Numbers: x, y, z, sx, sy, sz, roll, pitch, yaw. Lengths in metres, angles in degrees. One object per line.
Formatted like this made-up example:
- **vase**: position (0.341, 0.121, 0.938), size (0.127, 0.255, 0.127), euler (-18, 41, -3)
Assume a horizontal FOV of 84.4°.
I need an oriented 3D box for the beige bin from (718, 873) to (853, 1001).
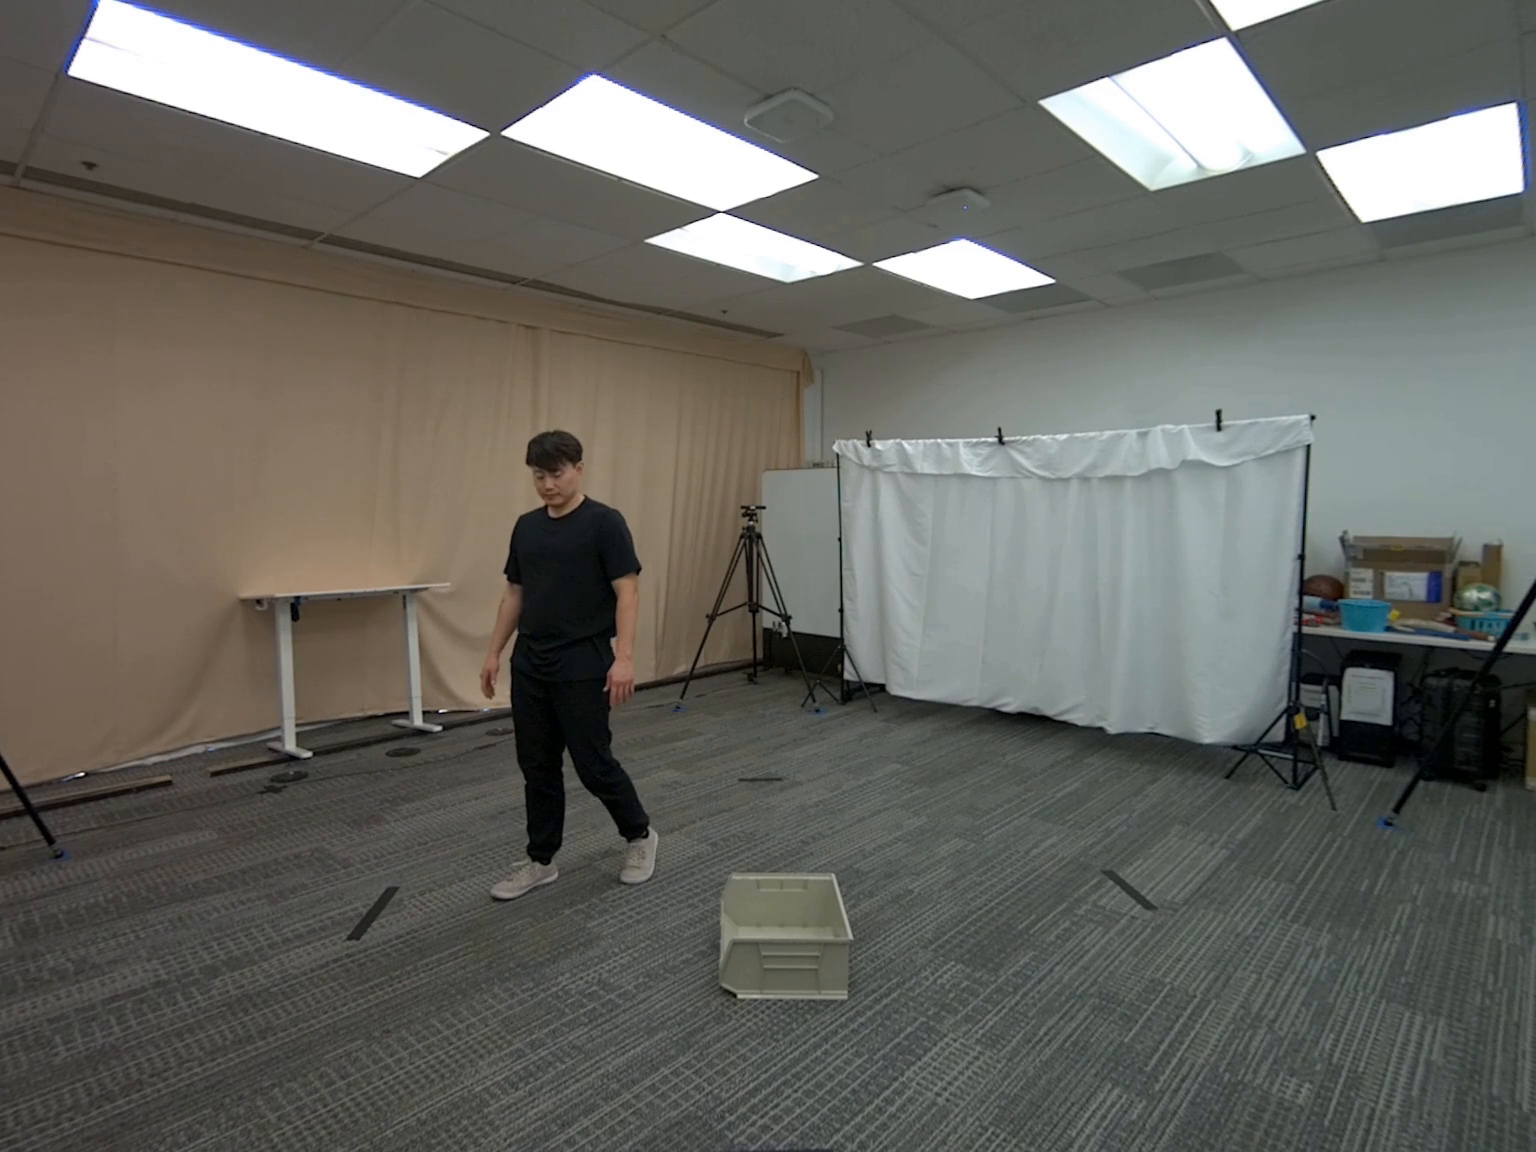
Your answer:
- **beige bin**: position (0.047, 1.090, 2.569), size (0.377, 0.188, 0.423), euler (0, 3, -1)
